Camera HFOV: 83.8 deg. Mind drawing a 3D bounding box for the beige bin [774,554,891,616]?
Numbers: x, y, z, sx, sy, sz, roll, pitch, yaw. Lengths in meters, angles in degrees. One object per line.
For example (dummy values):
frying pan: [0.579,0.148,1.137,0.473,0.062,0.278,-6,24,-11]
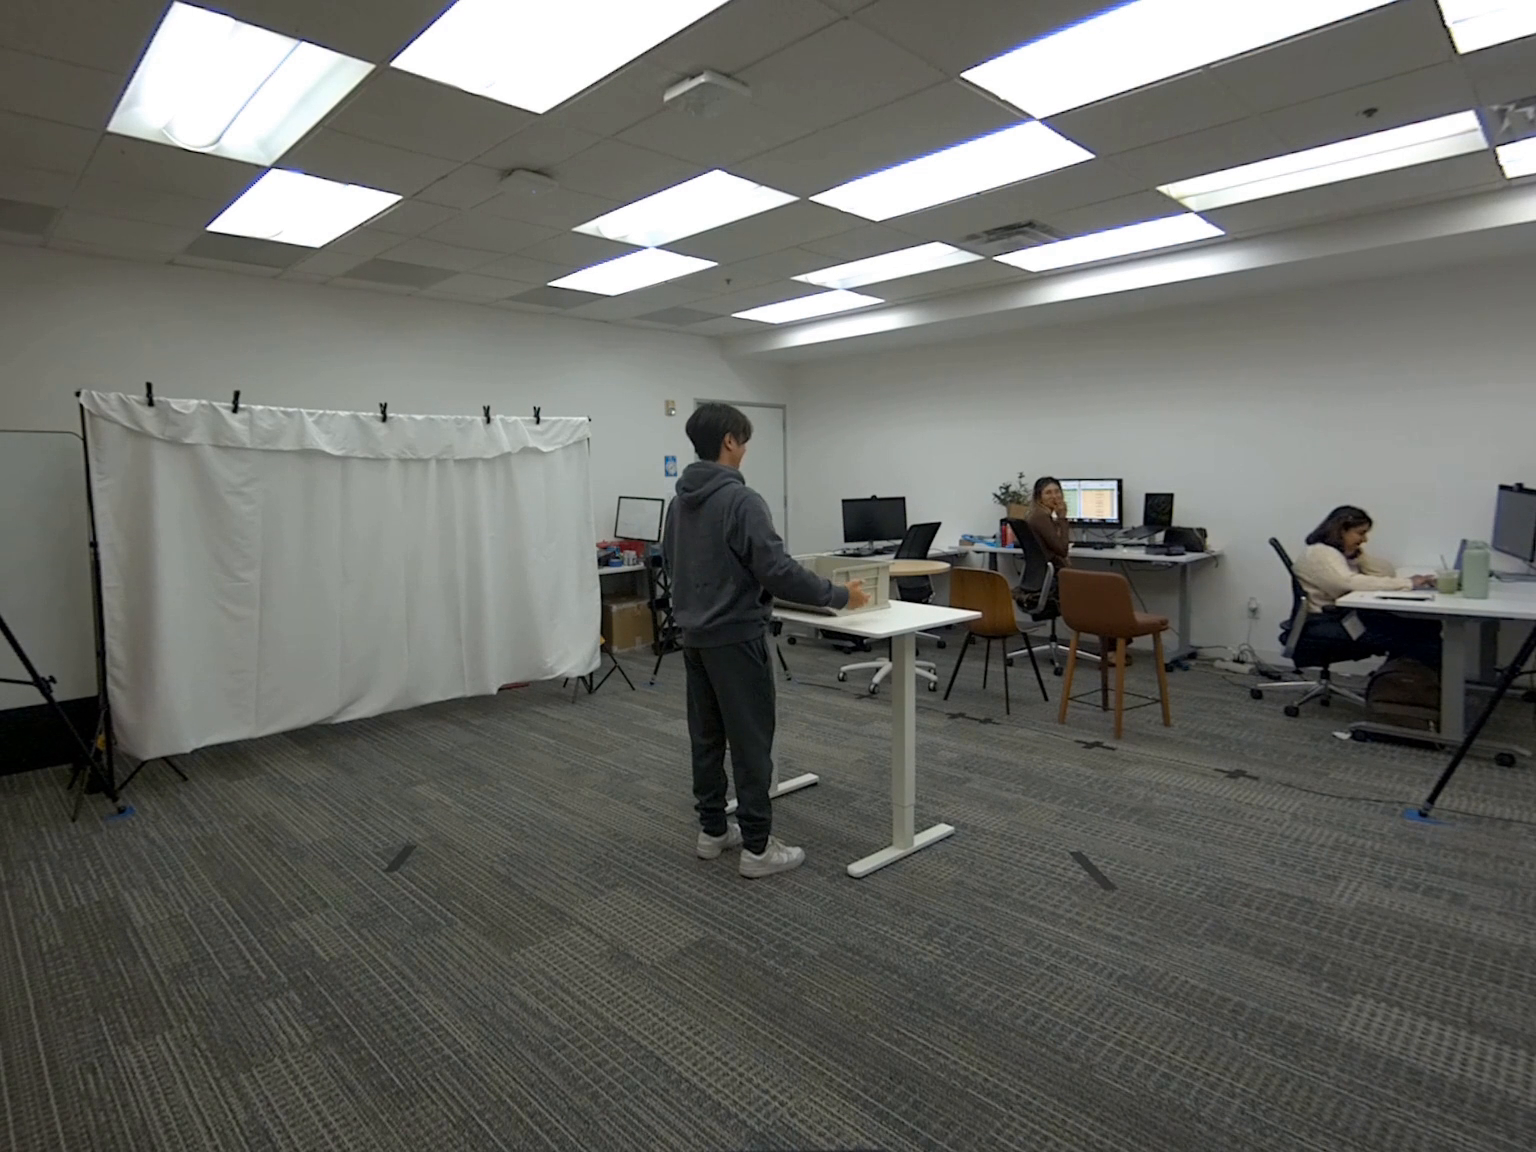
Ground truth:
beige bin: [0.217,0.036,3.380,0.367,0.188,0.435,-6,8,-41]
